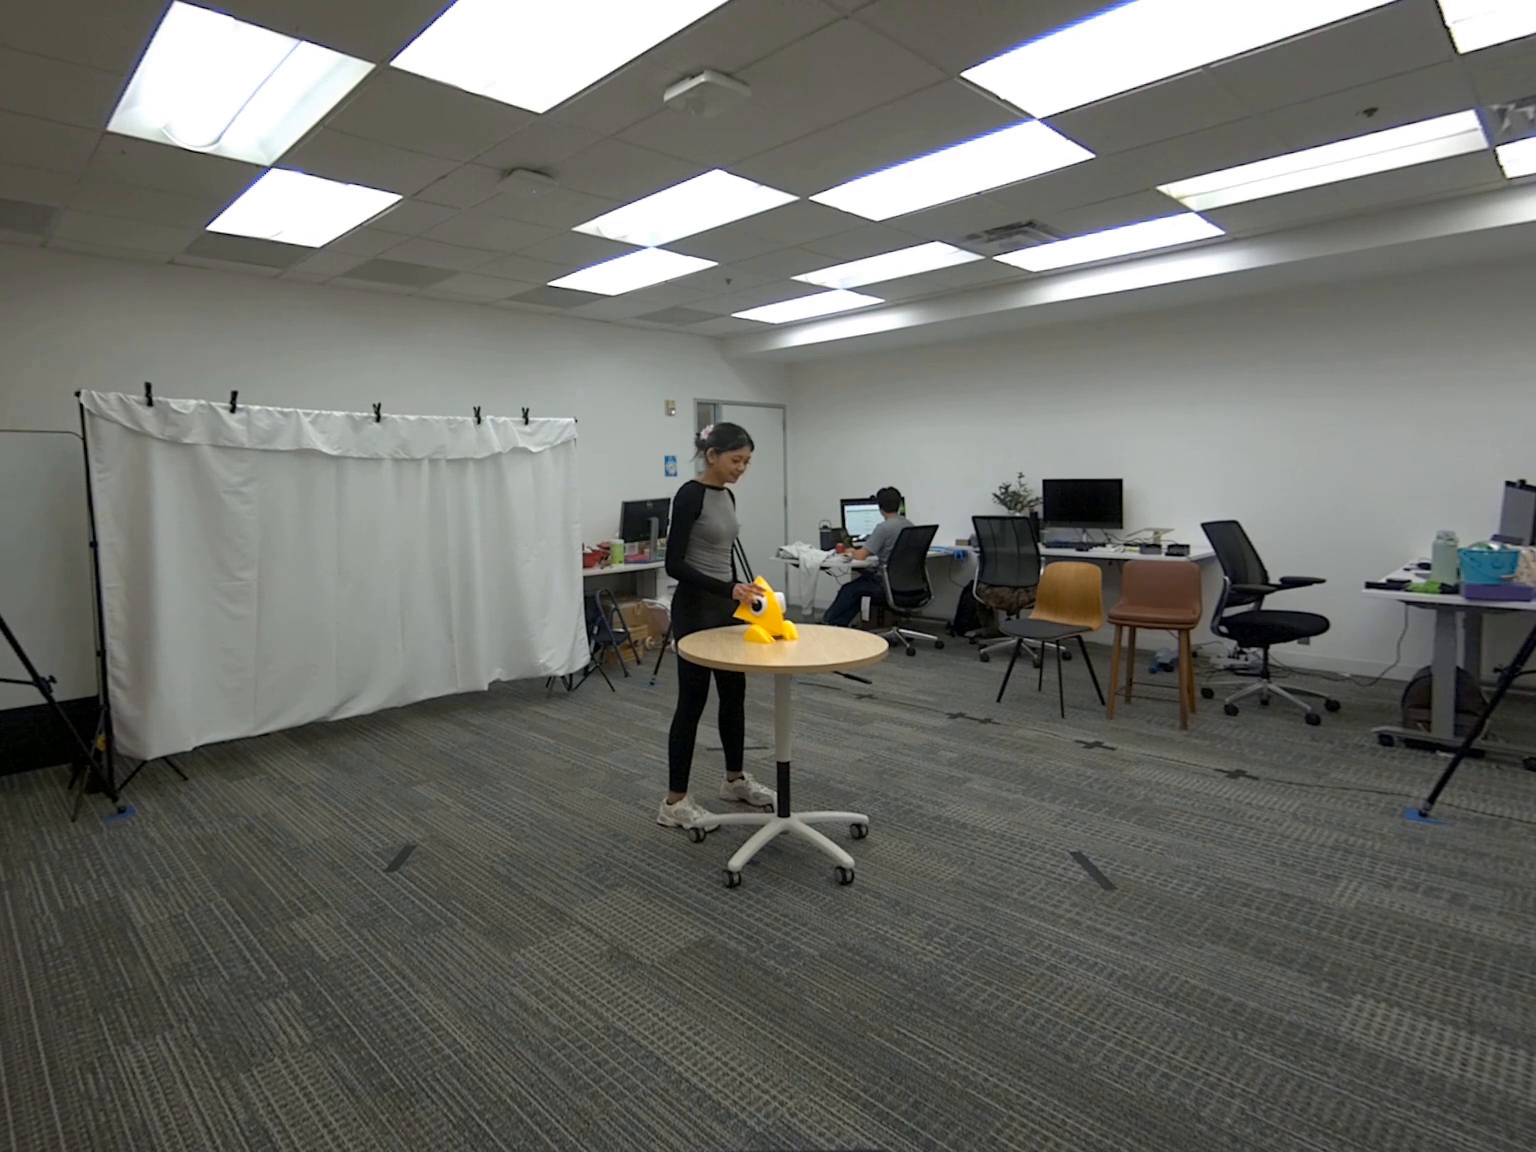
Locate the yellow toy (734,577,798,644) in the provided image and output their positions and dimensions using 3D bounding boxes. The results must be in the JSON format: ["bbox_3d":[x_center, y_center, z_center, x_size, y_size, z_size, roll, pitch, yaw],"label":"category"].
[{"bbox_3d":[0.007,0.118,3.227,0.200,0.230,0.199,-3,6,-34],"label":"yellow toy"}]
